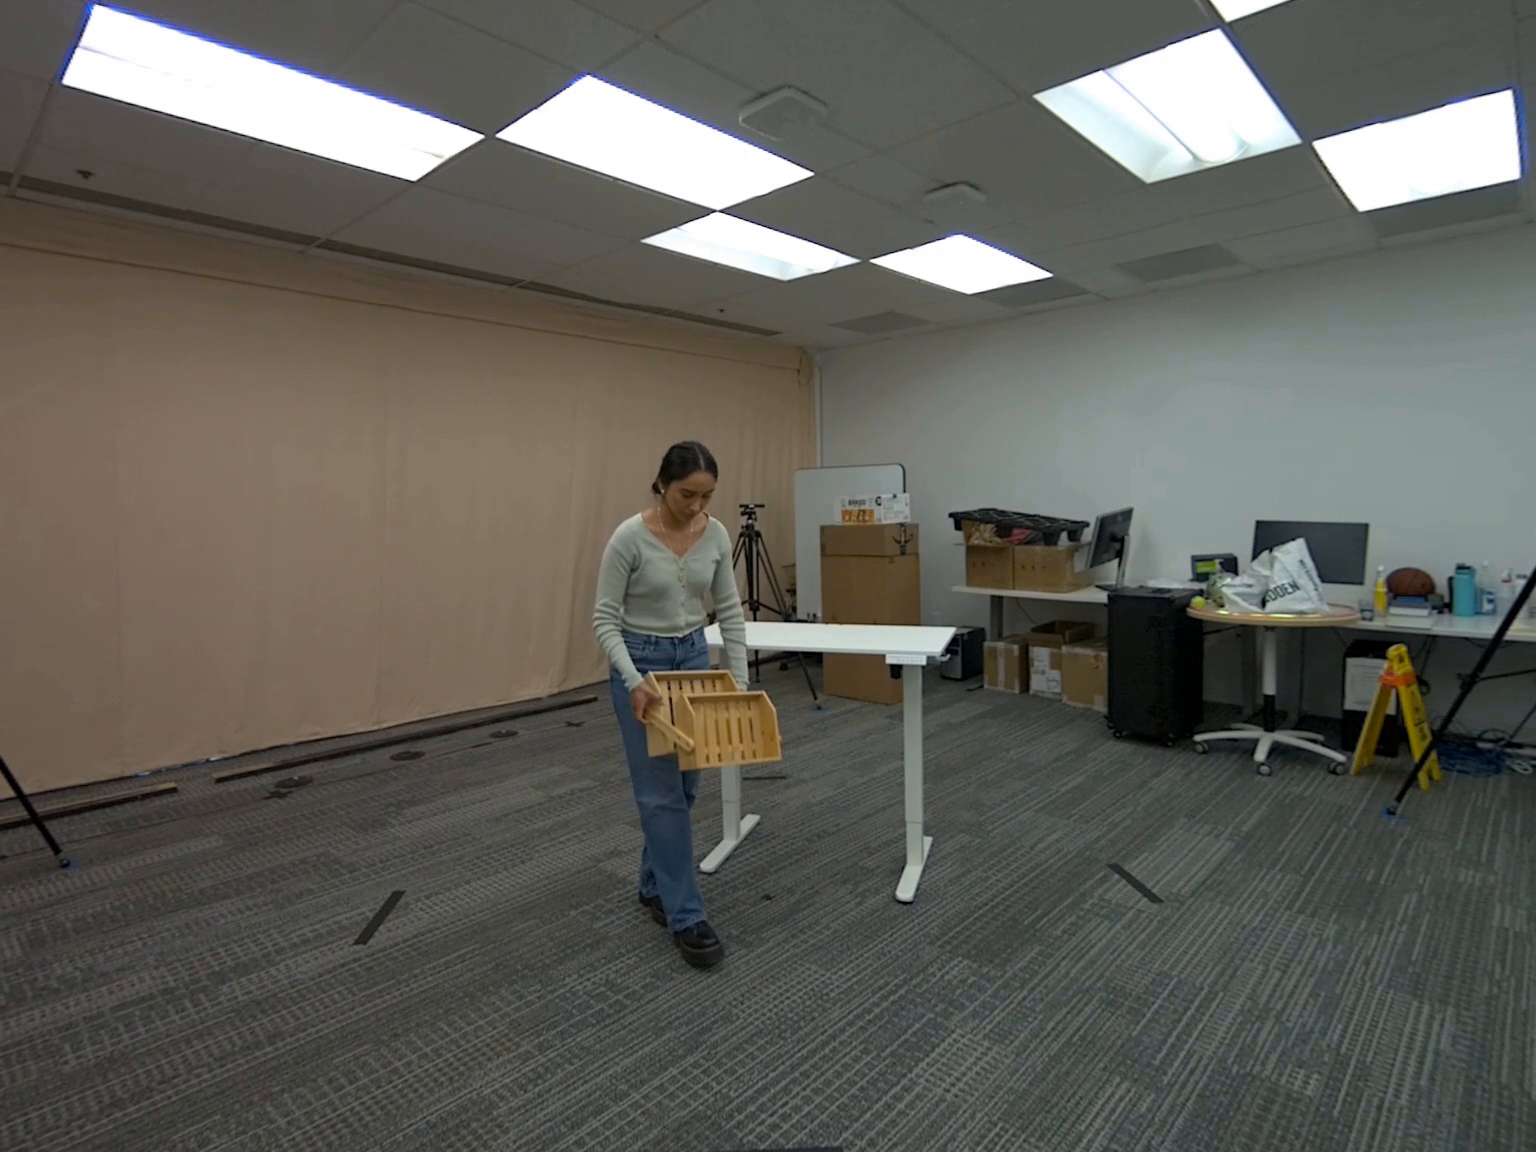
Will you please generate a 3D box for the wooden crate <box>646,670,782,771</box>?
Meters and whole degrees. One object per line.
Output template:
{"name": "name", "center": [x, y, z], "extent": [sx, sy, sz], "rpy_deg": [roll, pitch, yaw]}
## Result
{"name": "wooden crate", "center": [-0.171, 0.417, 2.543], "extent": [0.314, 0.305, 0.279], "rpy_deg": [3, -18, -38]}
